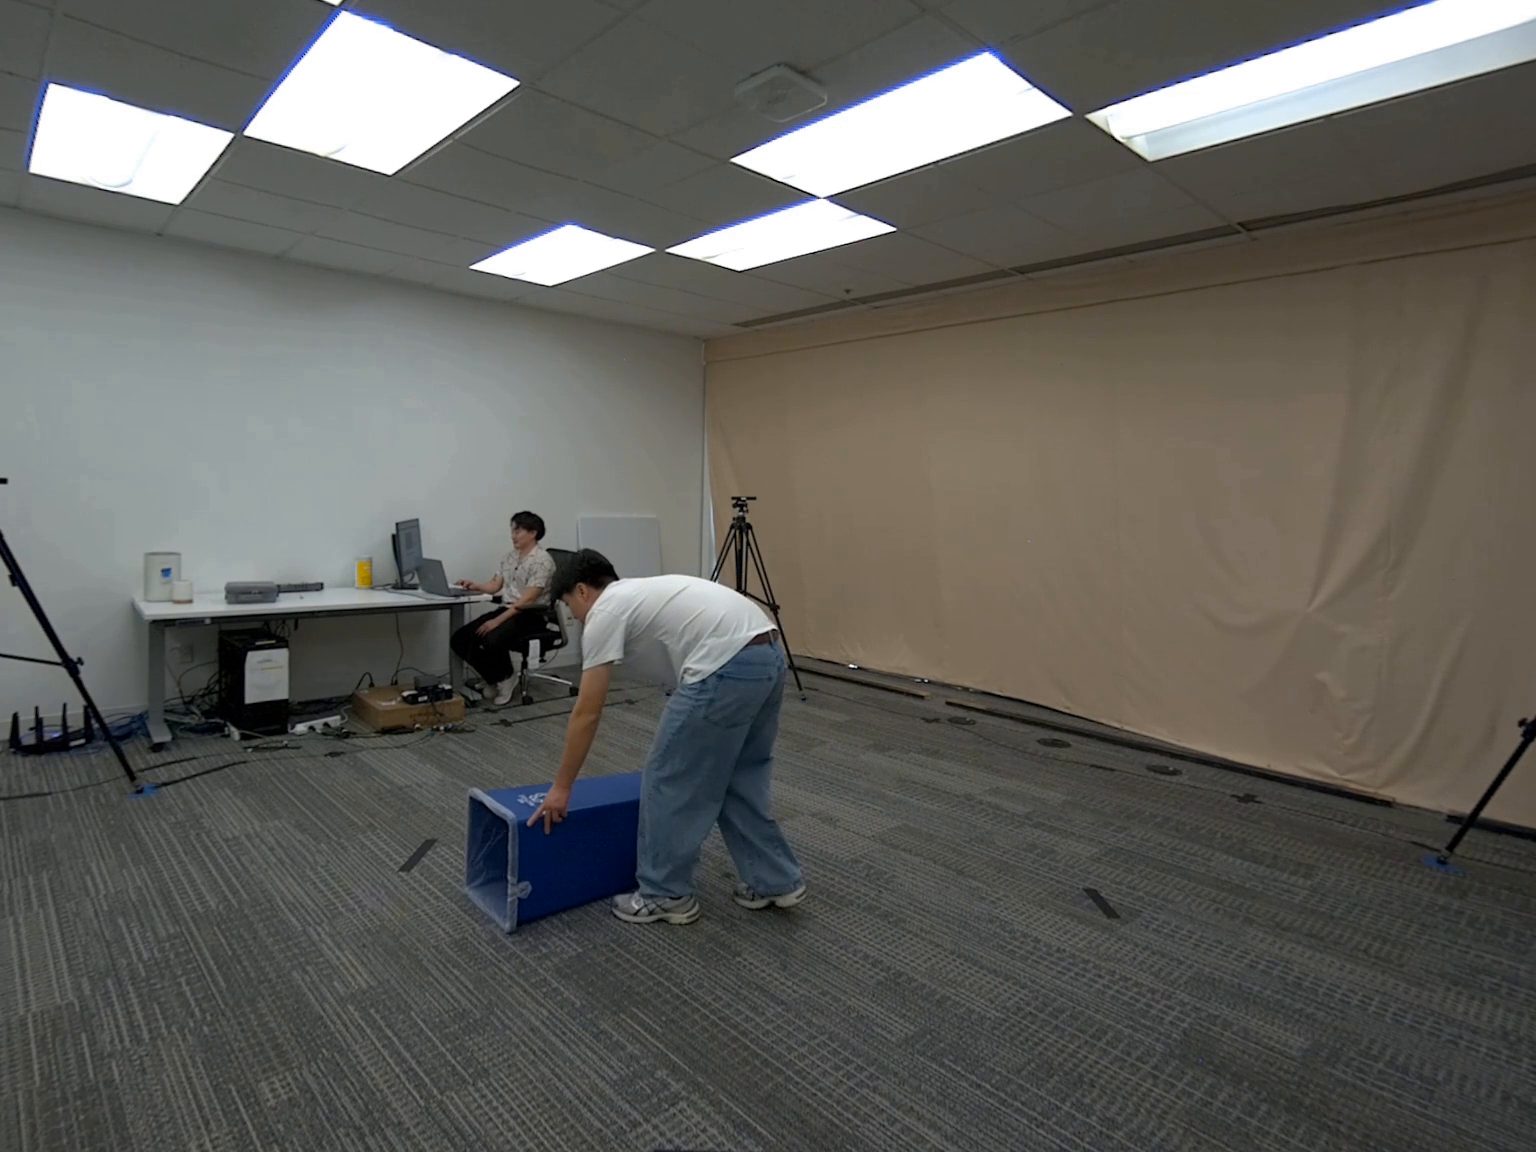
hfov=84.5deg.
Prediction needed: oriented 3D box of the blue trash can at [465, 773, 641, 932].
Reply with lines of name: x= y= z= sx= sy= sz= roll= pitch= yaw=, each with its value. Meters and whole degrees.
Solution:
blue trash can: x=-0.677 y=0.935 z=3.019 sx=0.696 sy=0.378 sz=0.383 roll=1 pitch=2 yaw=-41
